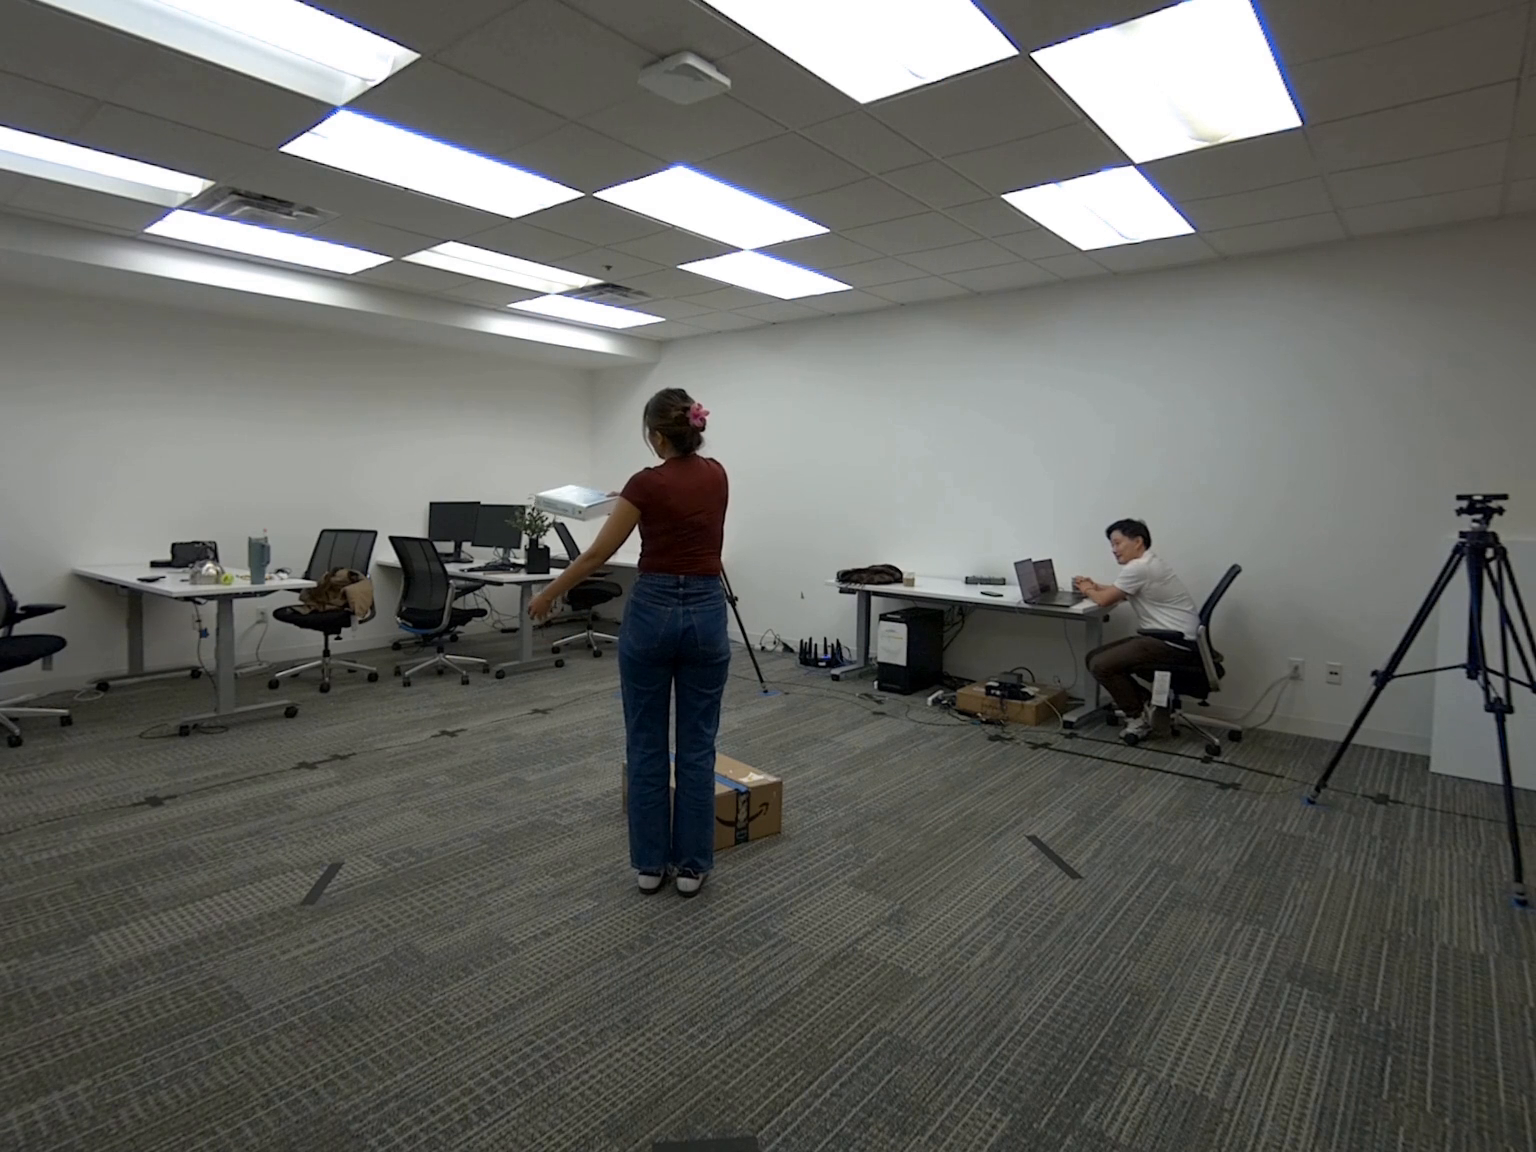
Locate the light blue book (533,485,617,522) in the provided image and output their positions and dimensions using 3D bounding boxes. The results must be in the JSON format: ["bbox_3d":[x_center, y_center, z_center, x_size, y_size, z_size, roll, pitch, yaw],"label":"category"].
[{"bbox_3d":[-0.737,-0.279,3.239,0.270,0.058,0.188,15,24,32],"label":"light blue book"}]
